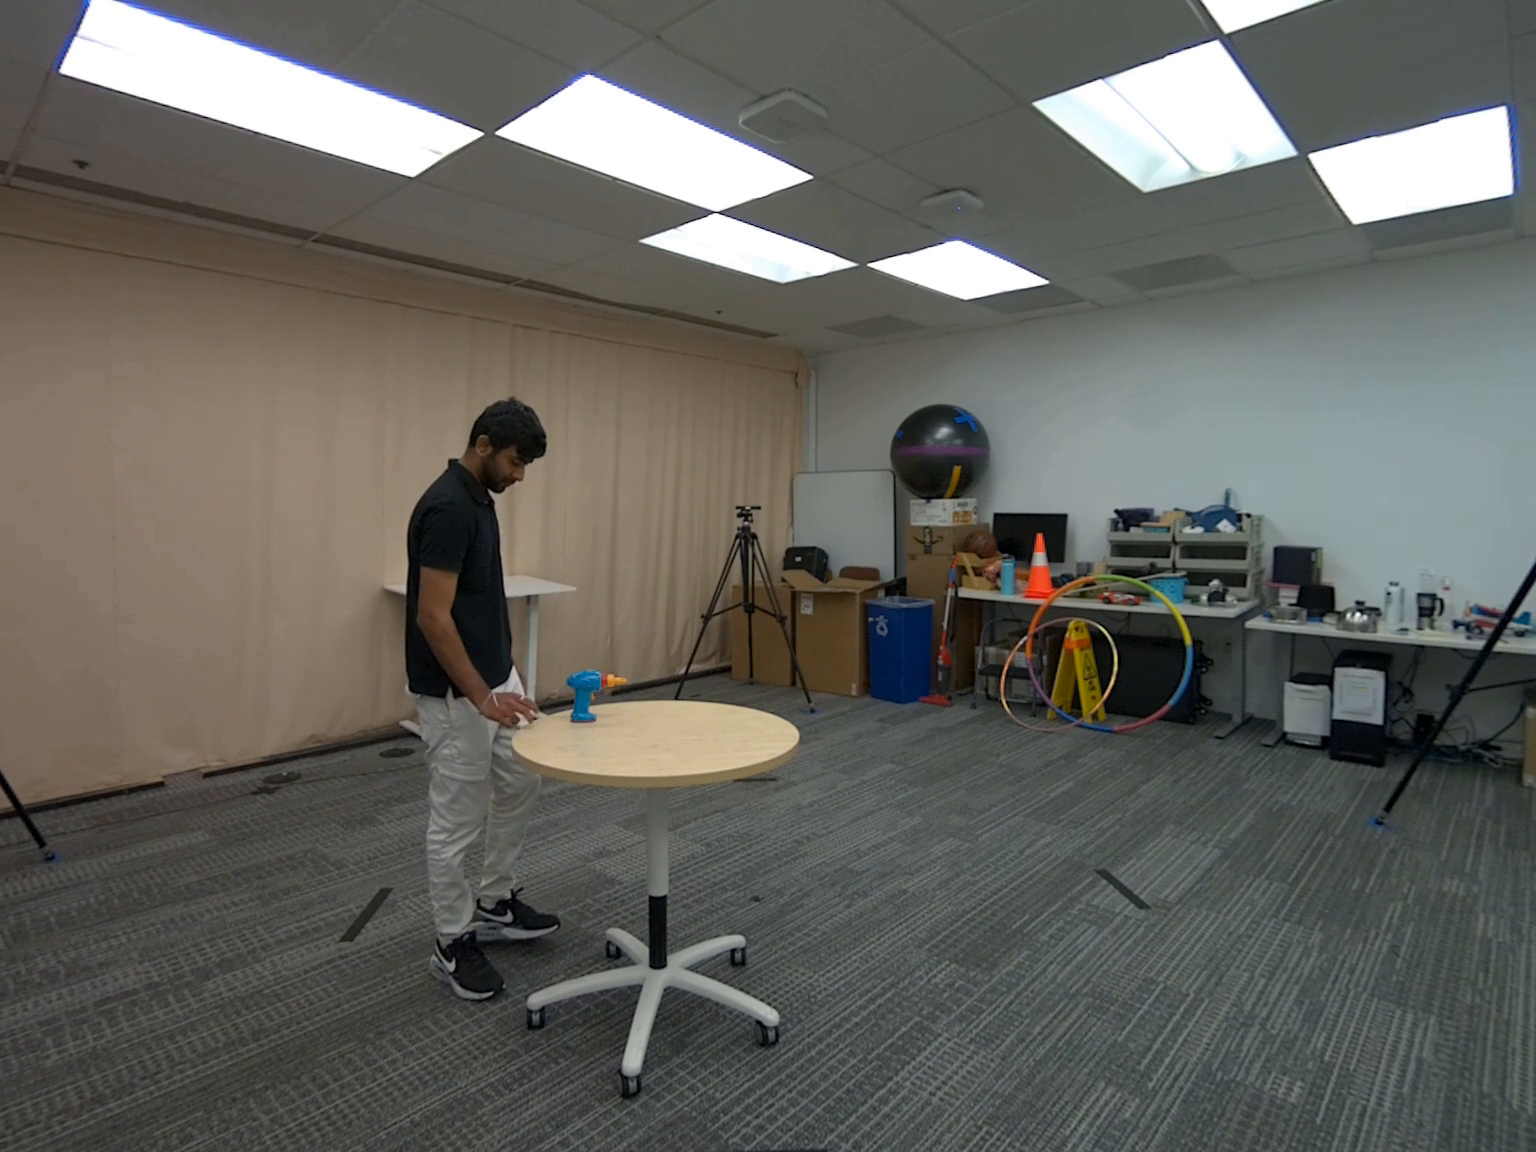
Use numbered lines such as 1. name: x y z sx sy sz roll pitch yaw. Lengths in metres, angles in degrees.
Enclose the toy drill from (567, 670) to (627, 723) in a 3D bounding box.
1. toy drill: -0.486 0.339 2.389 0.168 0.146 0.062 -2 1 -8
